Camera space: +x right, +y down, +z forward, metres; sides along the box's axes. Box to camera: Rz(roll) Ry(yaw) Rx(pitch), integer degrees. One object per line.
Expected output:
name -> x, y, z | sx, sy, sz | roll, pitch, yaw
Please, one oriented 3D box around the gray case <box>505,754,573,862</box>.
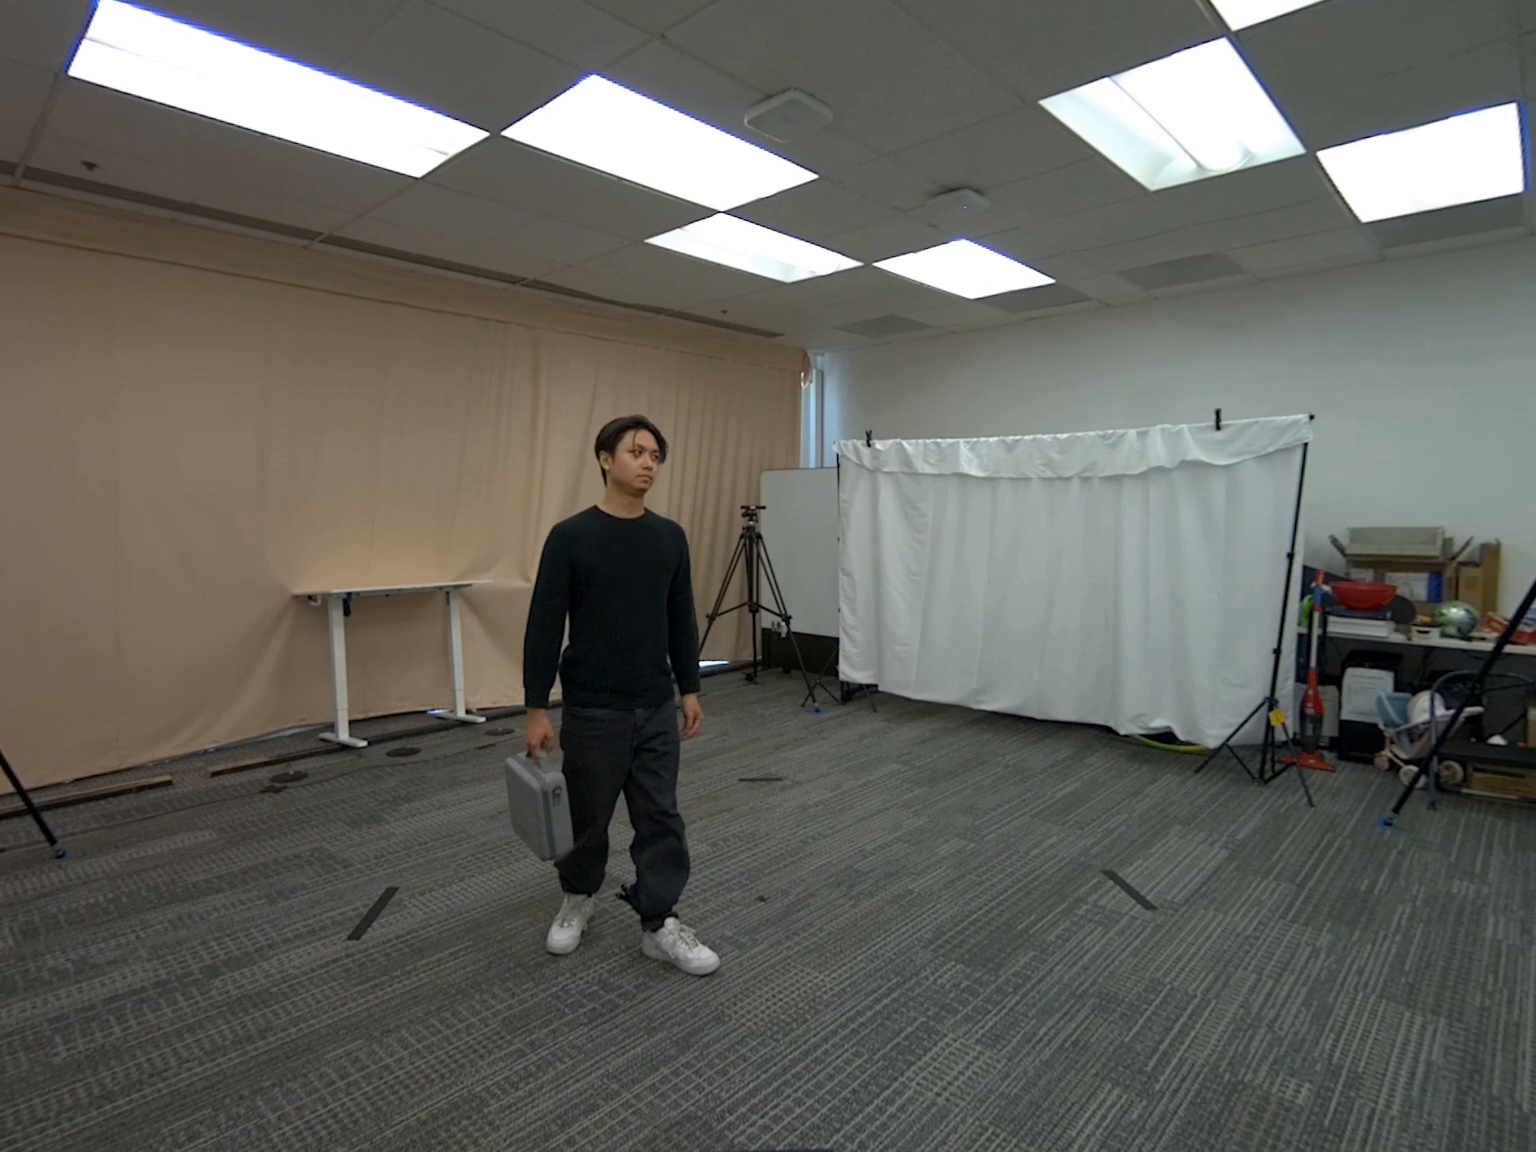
gray case -> -0.669, 0.664, 2.477 | 0.101, 0.259, 0.266 | -9, 14, -35
